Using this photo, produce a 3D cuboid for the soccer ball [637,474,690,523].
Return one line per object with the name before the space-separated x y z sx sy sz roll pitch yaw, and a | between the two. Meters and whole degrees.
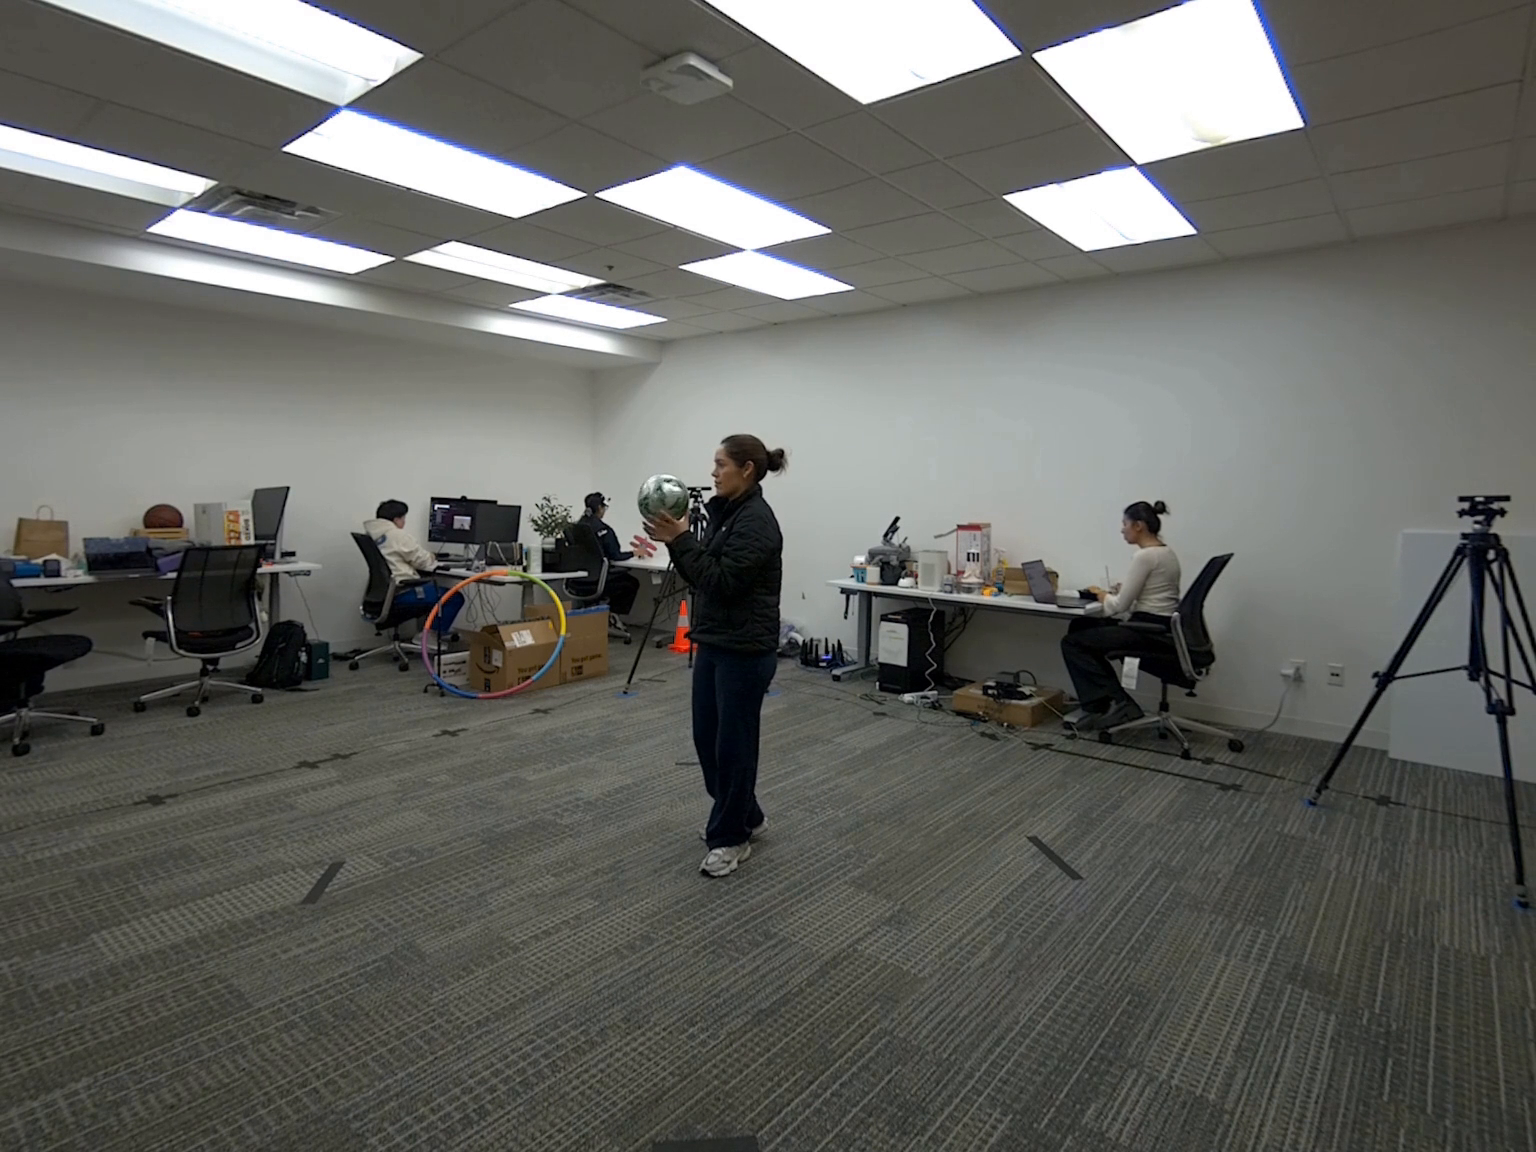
soccer ball | -0.388 -0.267 3.074 0.187 0.187 0.188 1 4 -2
